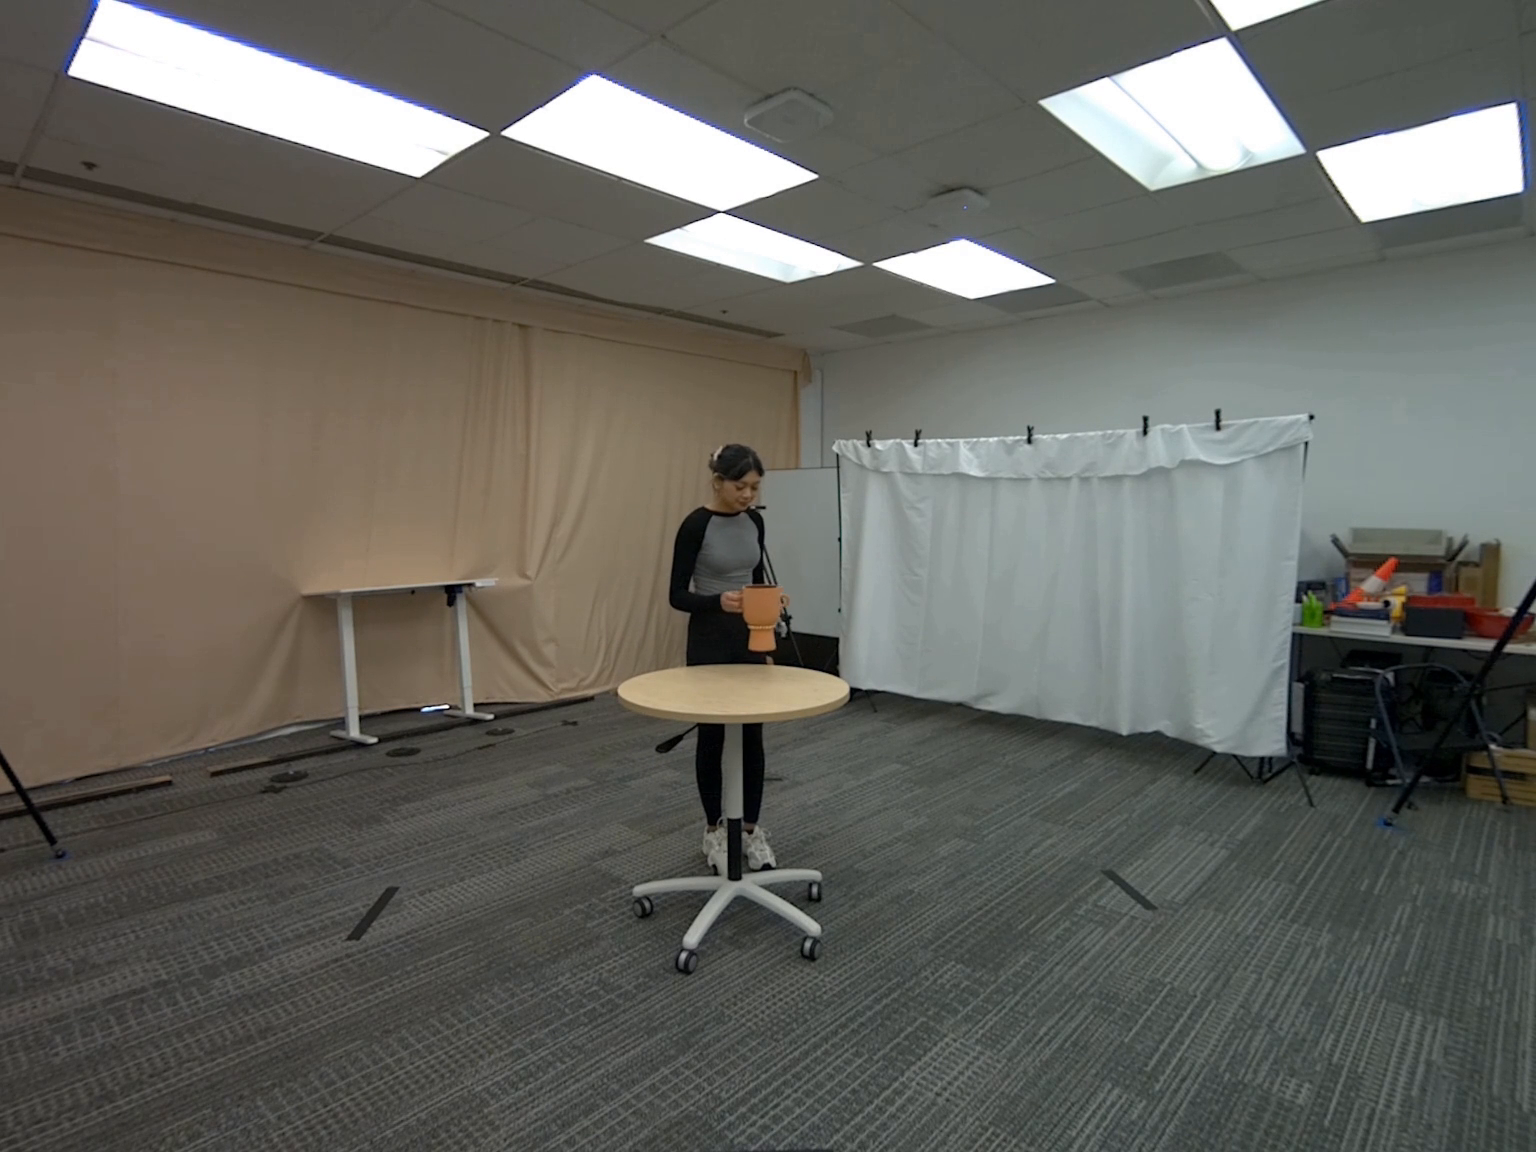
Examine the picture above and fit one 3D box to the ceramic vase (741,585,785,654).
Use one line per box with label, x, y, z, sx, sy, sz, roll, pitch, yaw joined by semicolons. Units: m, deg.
ceramic vase;-0.021;0.147;2.975;0.164;0.219;0.131;2;6;42
